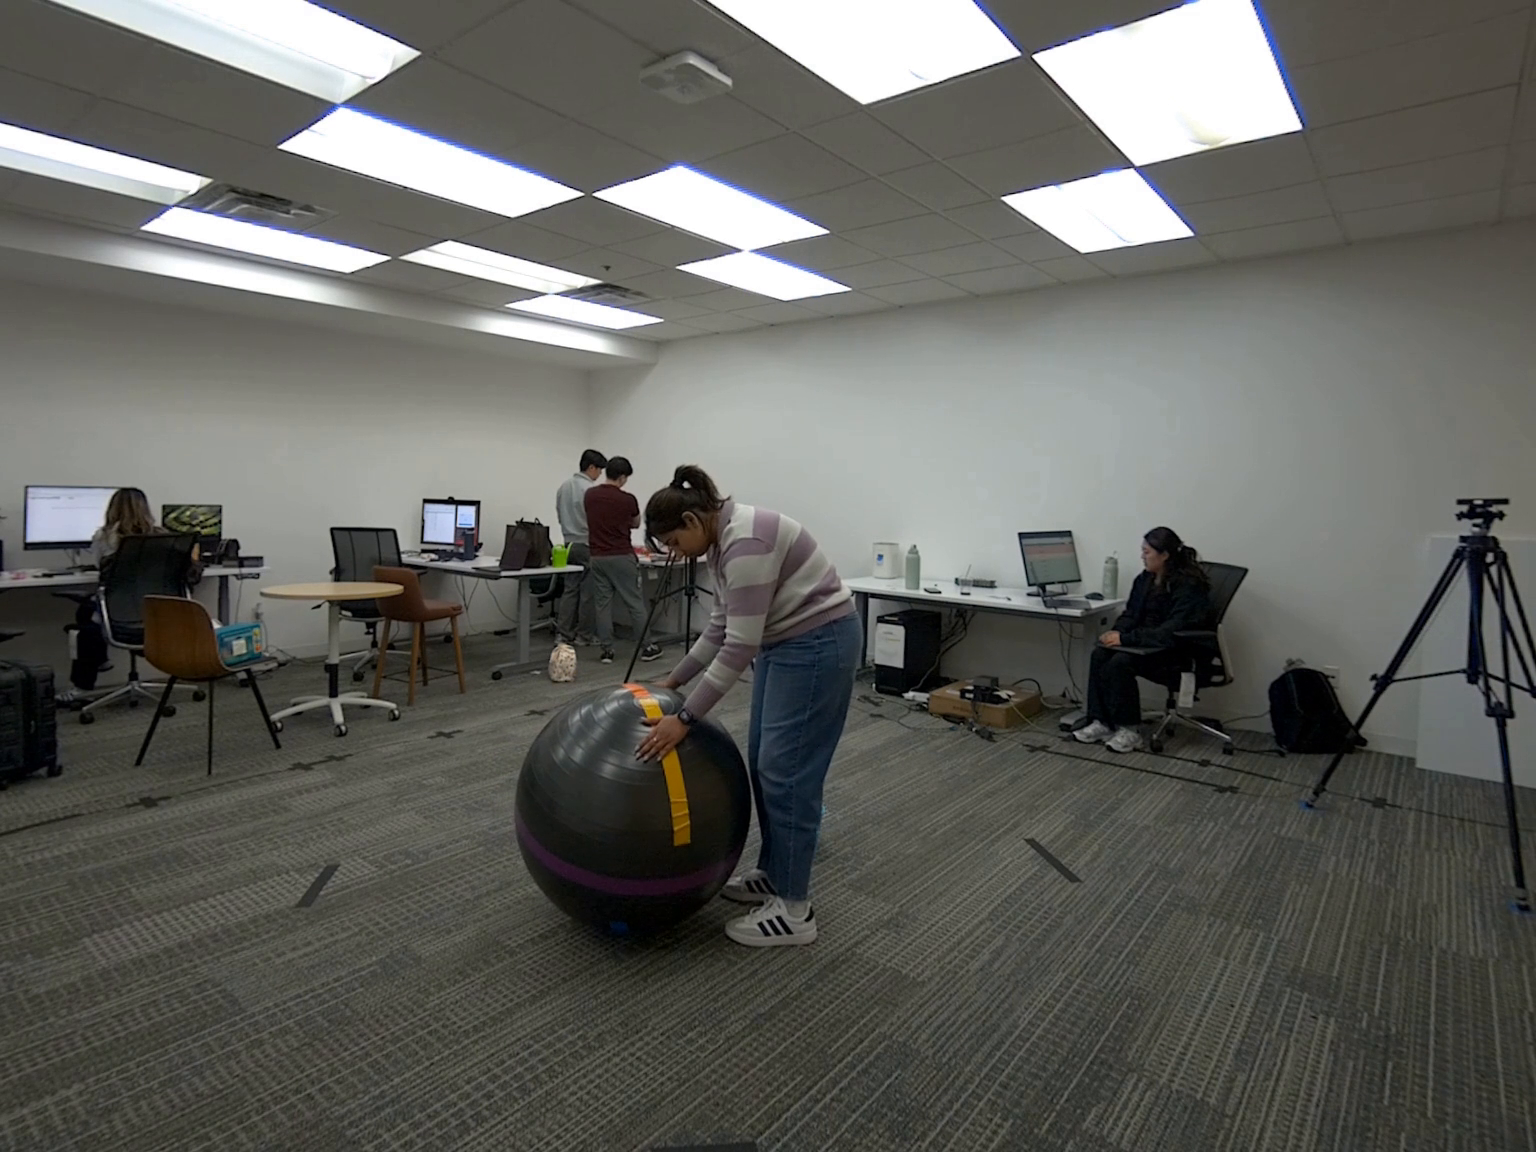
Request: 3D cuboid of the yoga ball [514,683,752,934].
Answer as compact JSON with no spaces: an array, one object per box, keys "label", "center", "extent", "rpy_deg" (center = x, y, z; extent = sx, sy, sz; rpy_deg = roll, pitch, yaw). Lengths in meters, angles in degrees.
[{"label":"yoga ball","center":[-0.442,0.737,2.734],"extent":[0.757,0.756,0.762],"rpy_deg":[1,4,-2]}]
